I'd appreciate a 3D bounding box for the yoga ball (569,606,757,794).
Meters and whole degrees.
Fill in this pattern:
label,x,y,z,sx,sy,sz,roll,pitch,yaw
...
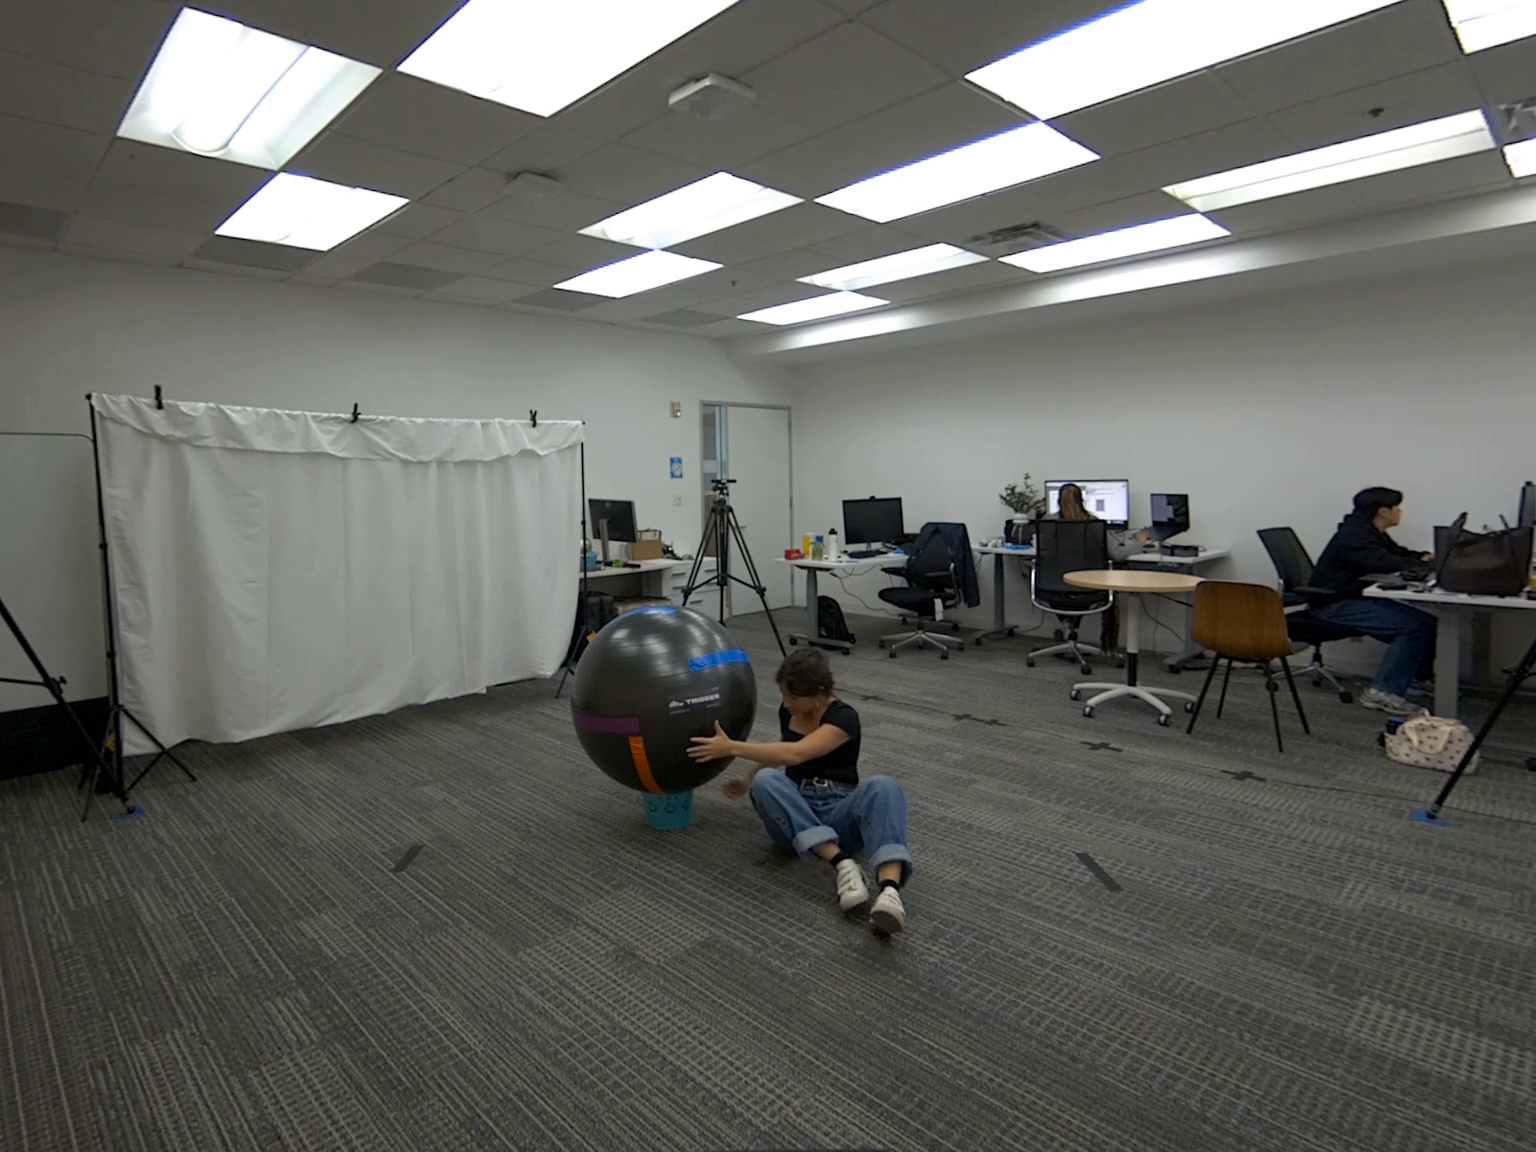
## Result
label,x,y,z,sx,sy,sz,roll,pitch,yaw
yoga ball,-0.429,0.501,3.491,0.757,0.755,0.762,-1,5,-2
